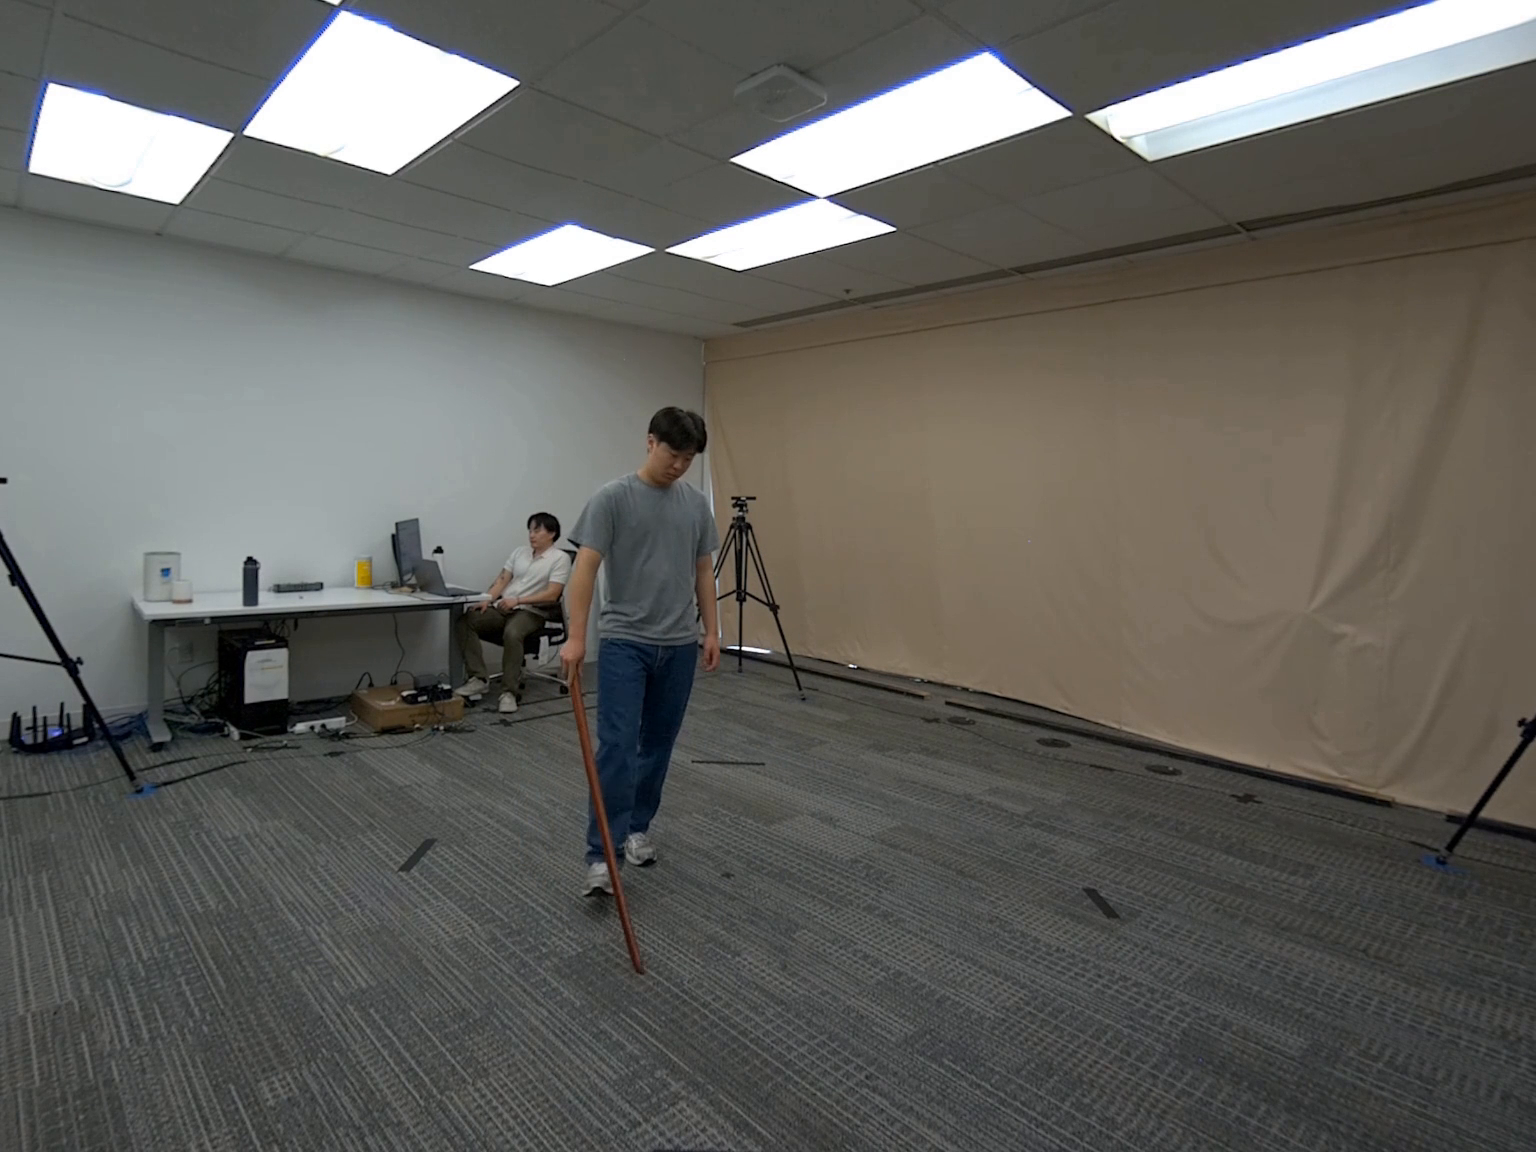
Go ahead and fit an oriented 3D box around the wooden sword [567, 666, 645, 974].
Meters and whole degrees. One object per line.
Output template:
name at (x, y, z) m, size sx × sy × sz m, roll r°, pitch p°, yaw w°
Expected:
wooden sword at (-0.538, 0.739, 2.670) m, size 0.051 × 1.048 × 0.023 m, roll -34°, pitch -28°, yaw 25°
